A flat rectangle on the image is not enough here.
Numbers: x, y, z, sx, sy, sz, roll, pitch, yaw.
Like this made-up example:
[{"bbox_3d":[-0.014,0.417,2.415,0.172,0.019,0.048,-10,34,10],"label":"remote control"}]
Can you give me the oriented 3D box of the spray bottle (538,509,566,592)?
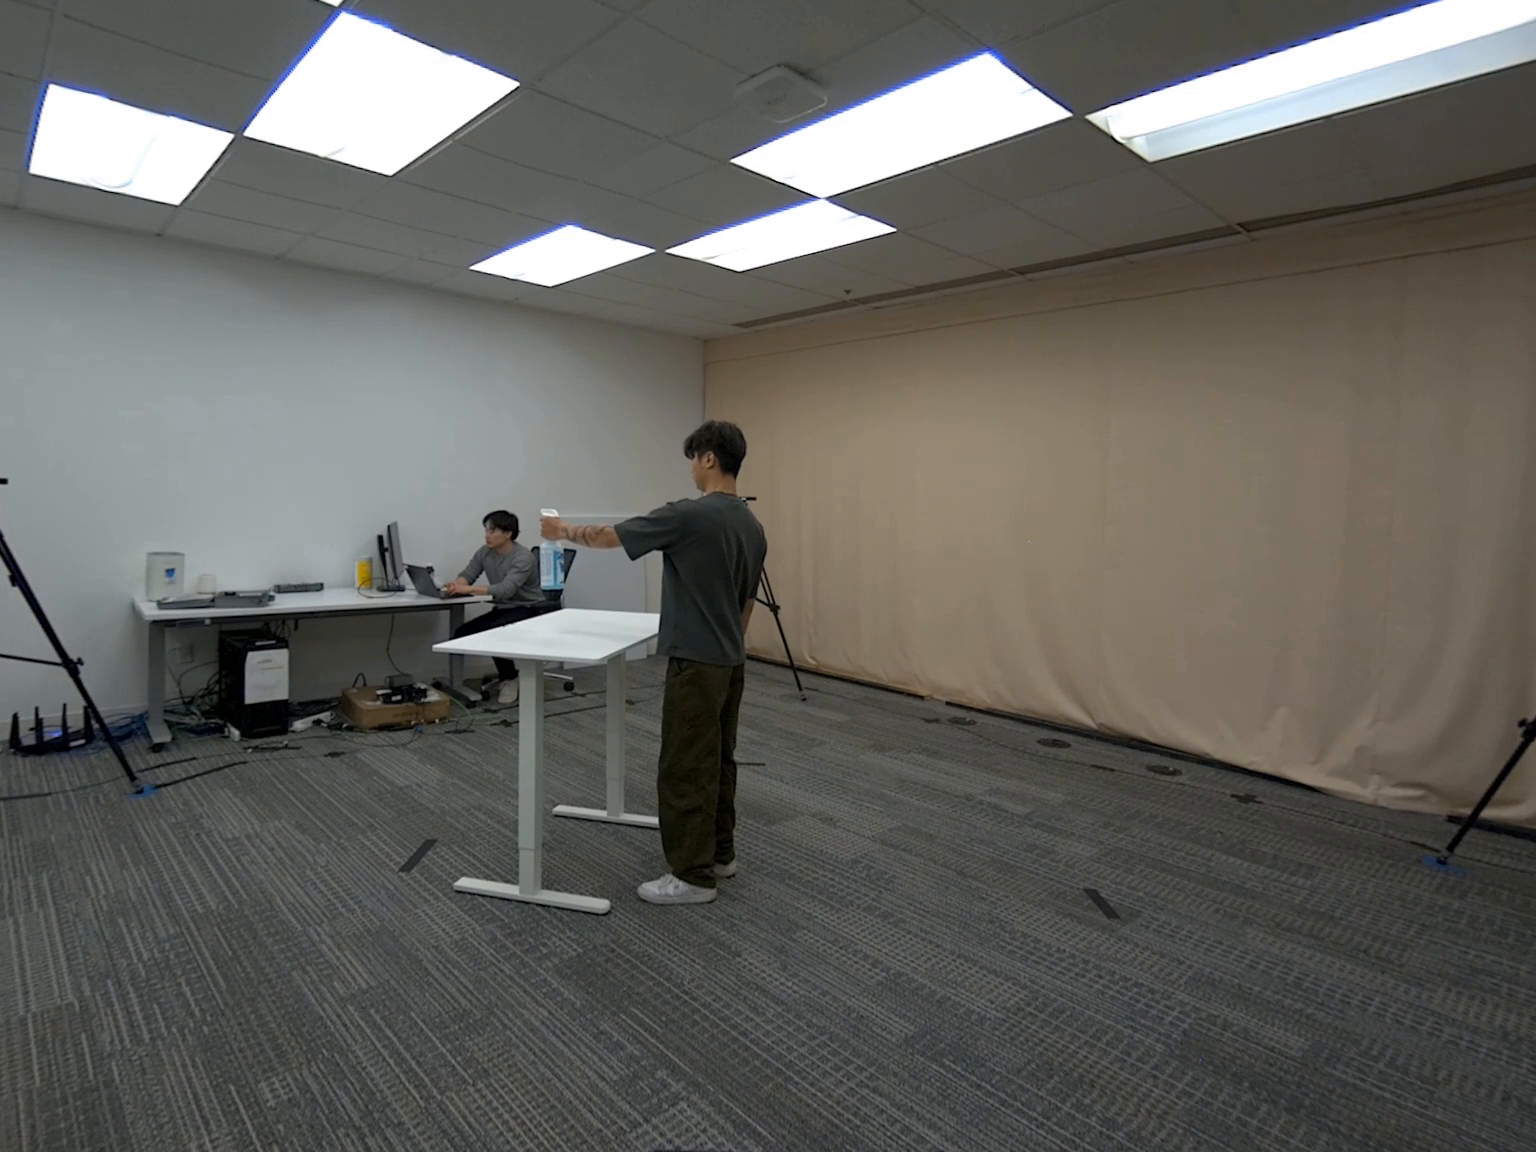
[{"bbox_3d":[-0.804,-0.098,3.130,0.085,0.297,0.092,-2,1,-31],"label":"spray bottle"}]
